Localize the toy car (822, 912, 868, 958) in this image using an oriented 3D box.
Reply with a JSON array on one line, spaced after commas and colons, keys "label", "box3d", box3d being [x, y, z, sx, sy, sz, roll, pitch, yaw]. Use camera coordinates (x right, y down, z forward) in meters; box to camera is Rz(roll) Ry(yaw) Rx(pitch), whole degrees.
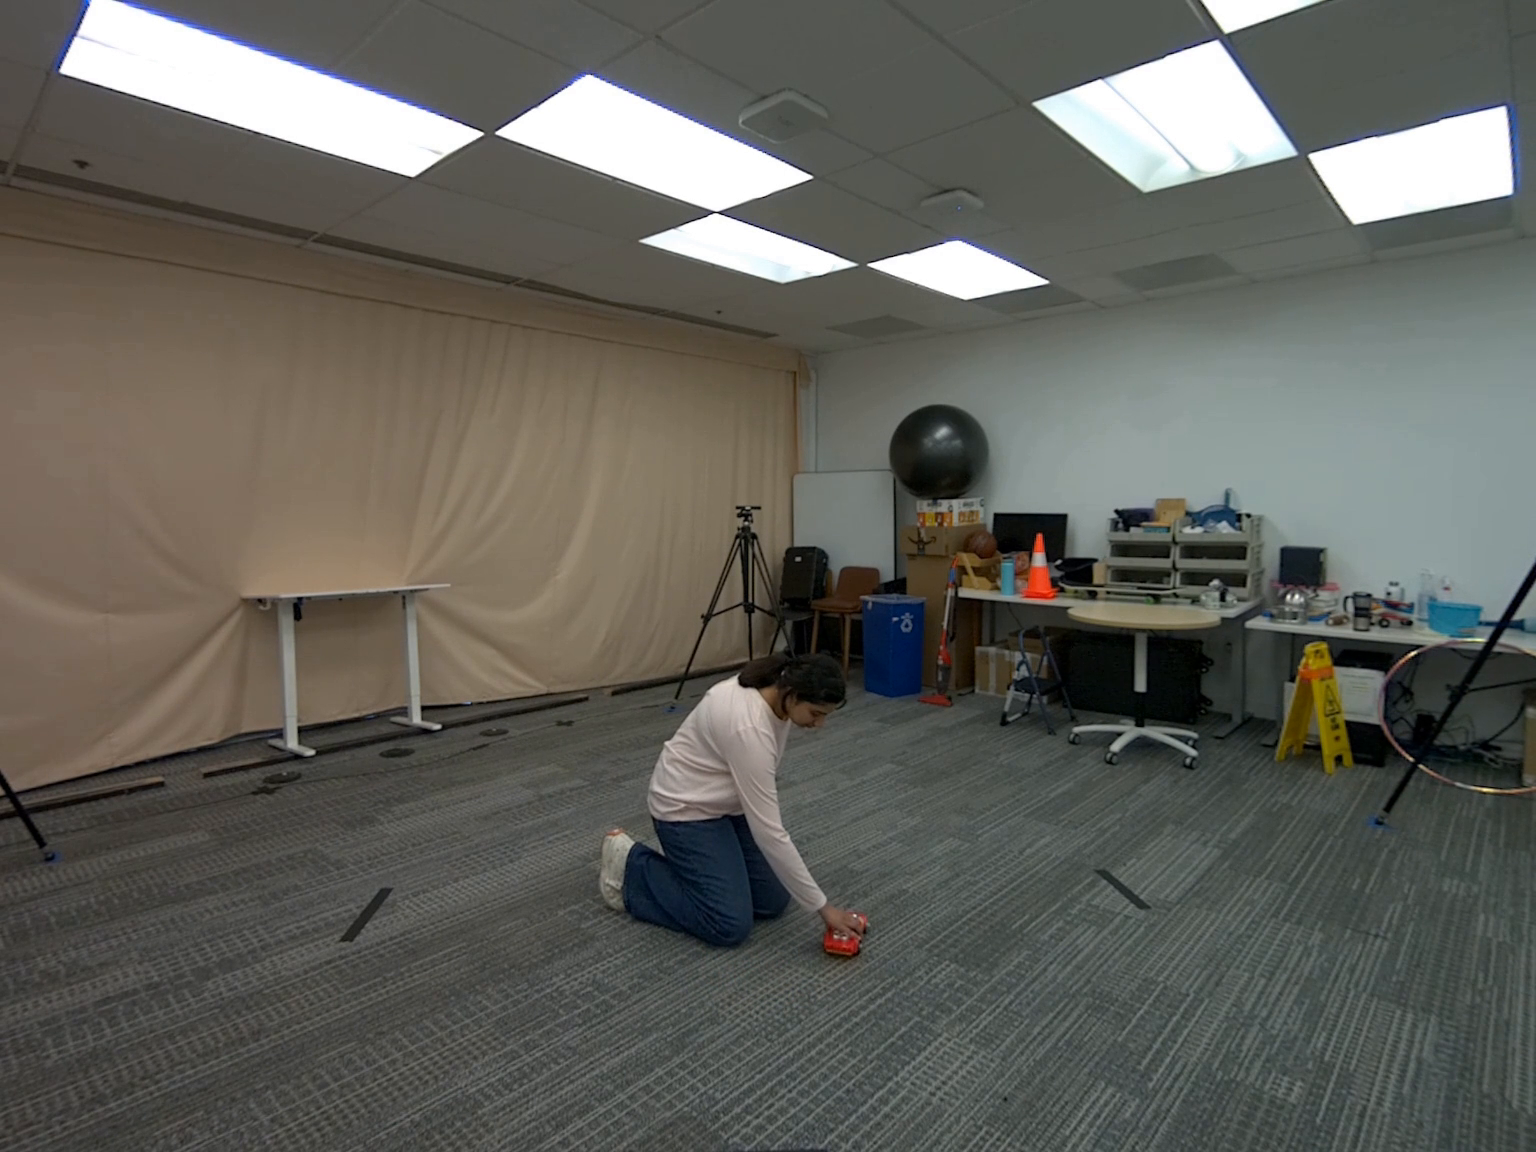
[{"label": "toy car", "box3d": [0.247, 1.141, 2.670, 0.133, 0.083, 0.249, 2, -5, 18]}]
